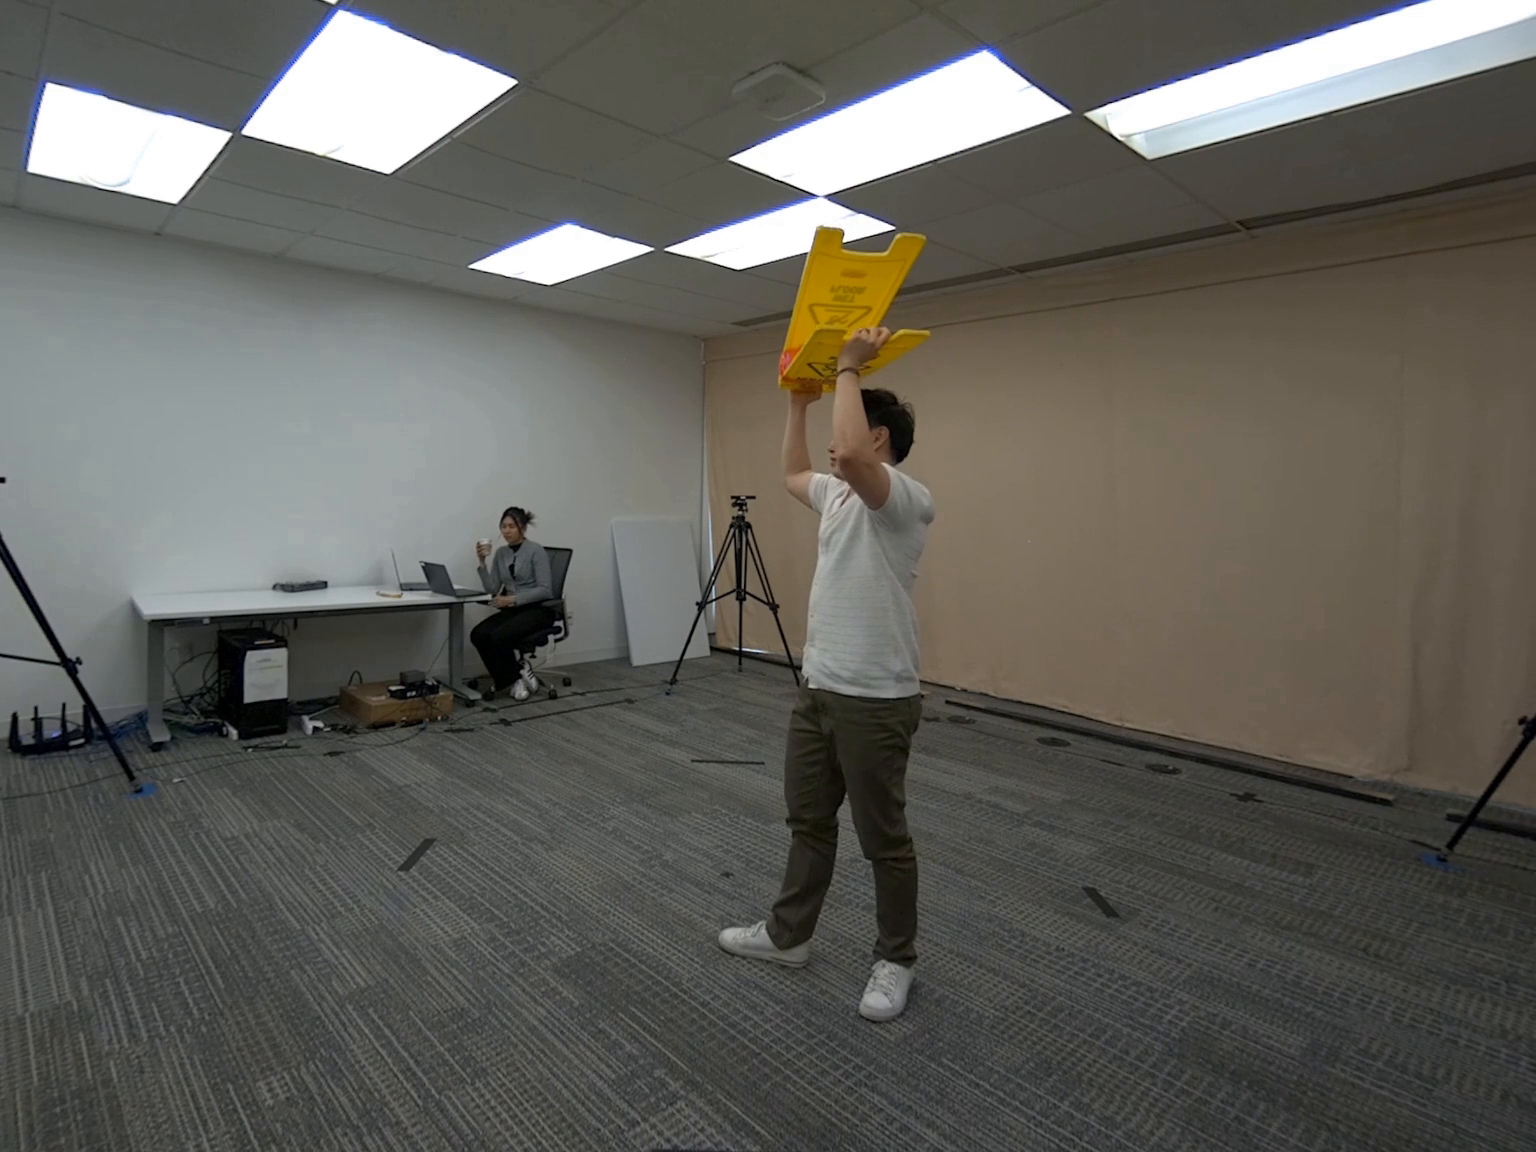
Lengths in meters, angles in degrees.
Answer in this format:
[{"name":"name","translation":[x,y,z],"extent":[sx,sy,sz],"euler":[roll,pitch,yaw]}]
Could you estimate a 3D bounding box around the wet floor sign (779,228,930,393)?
[{"name":"wet floor sign","translation":[0.187,-0.648,2.302],"extent":[0.280,0.292,0.644],"euler":[1,-10,-9]}]
